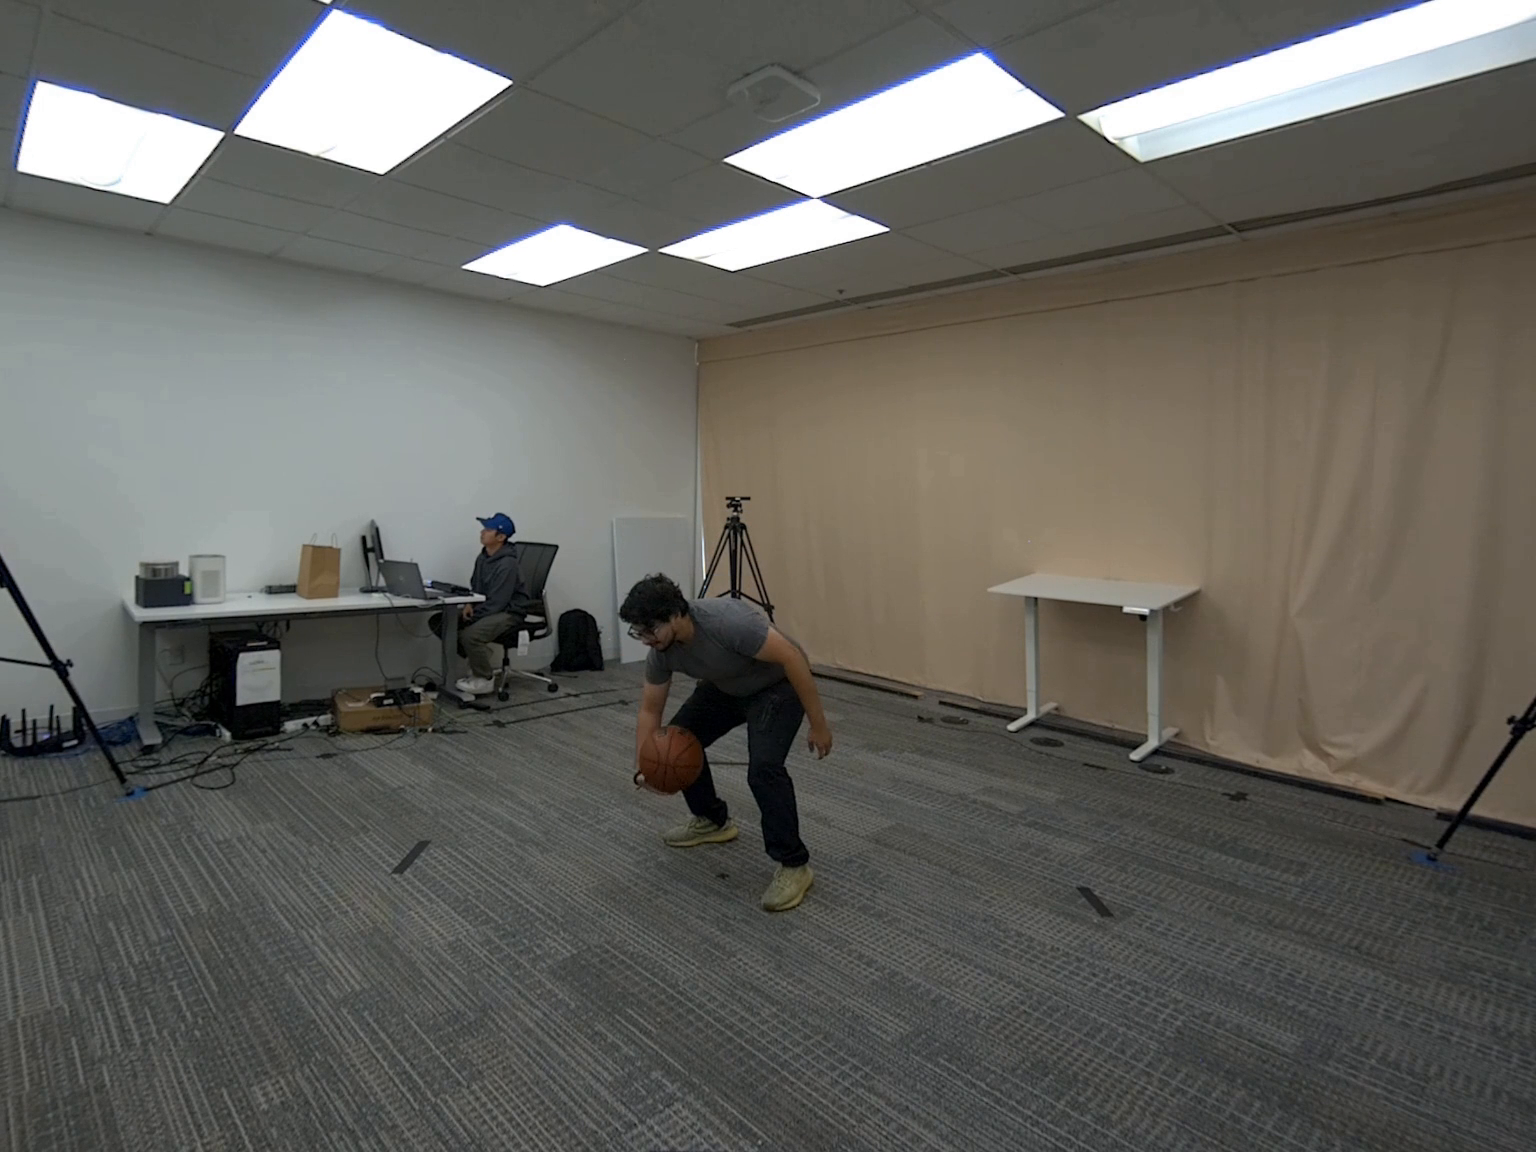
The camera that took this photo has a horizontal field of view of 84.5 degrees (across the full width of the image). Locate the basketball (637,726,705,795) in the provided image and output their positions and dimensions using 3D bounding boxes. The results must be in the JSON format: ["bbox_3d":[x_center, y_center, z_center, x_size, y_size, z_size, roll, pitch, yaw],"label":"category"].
[{"bbox_3d":[-0.359,0.672,3.125,0.236,0.235,0.237,1,4,-1],"label":"basketball"}]
